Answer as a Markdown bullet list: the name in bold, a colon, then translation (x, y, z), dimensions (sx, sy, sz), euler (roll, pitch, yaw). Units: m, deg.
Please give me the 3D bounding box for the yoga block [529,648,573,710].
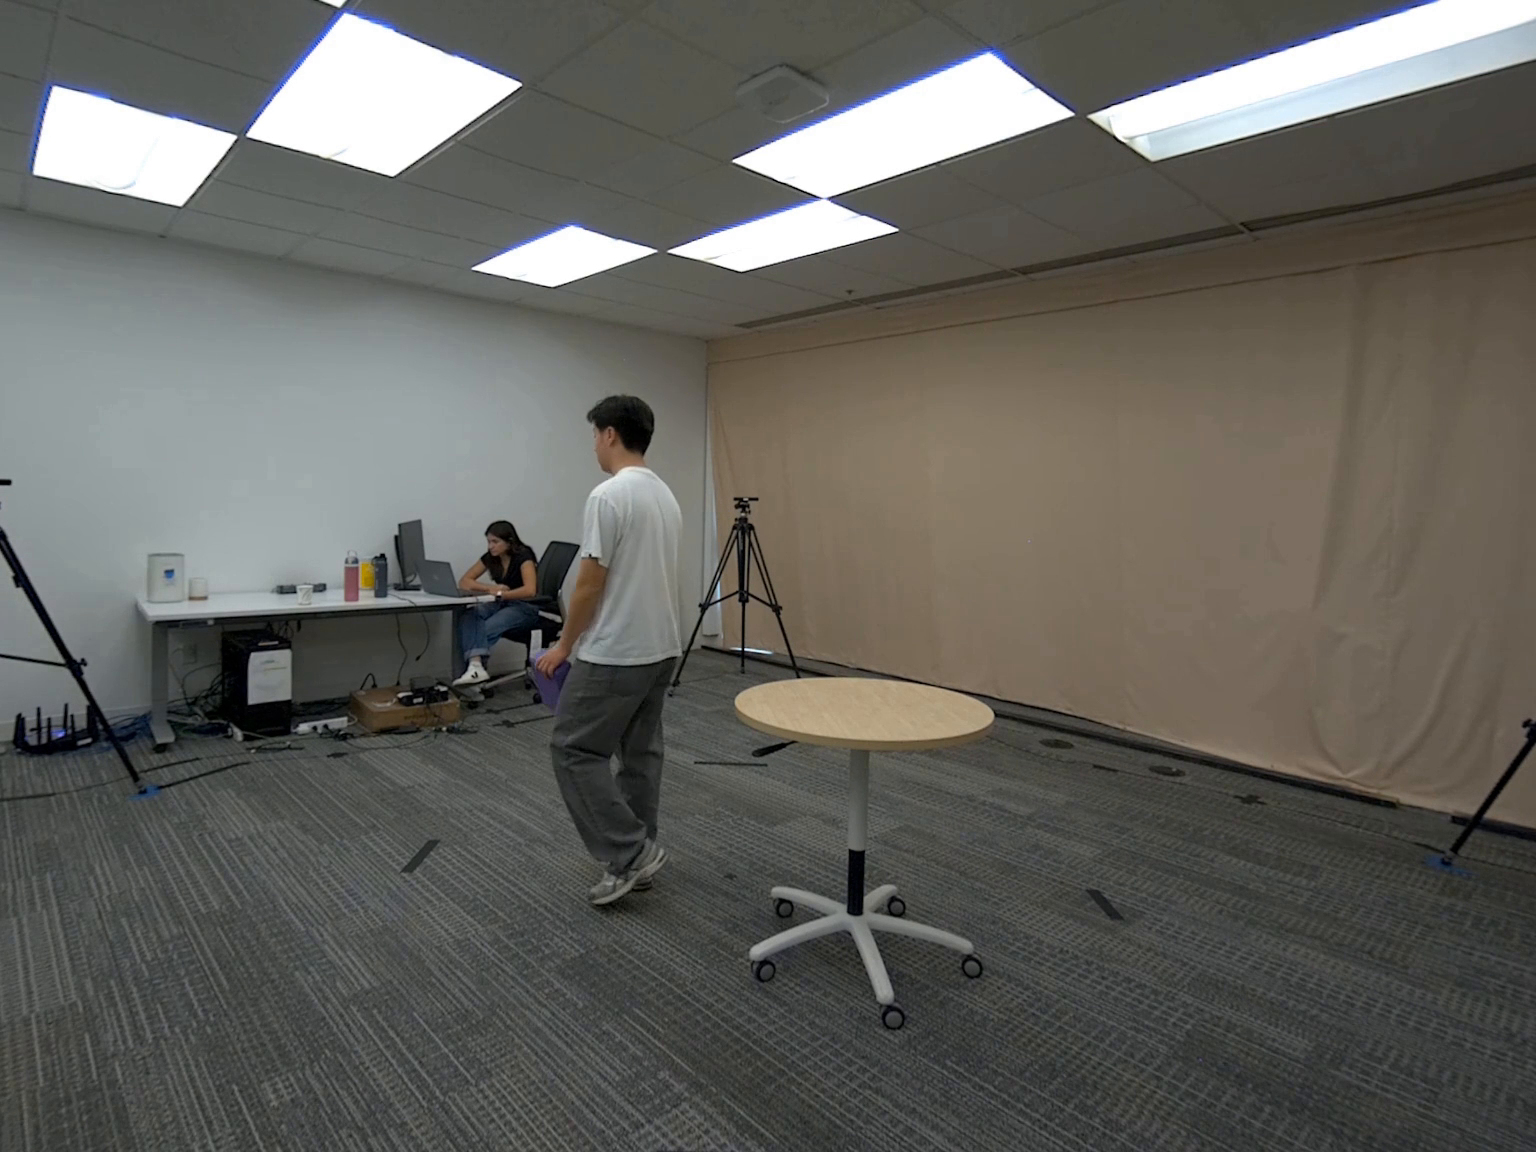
- **yoga block**: translation (-0.741, 0.388, 2.982), dimensions (0.153, 0.224, 0.076), euler (19, 39, 36)
